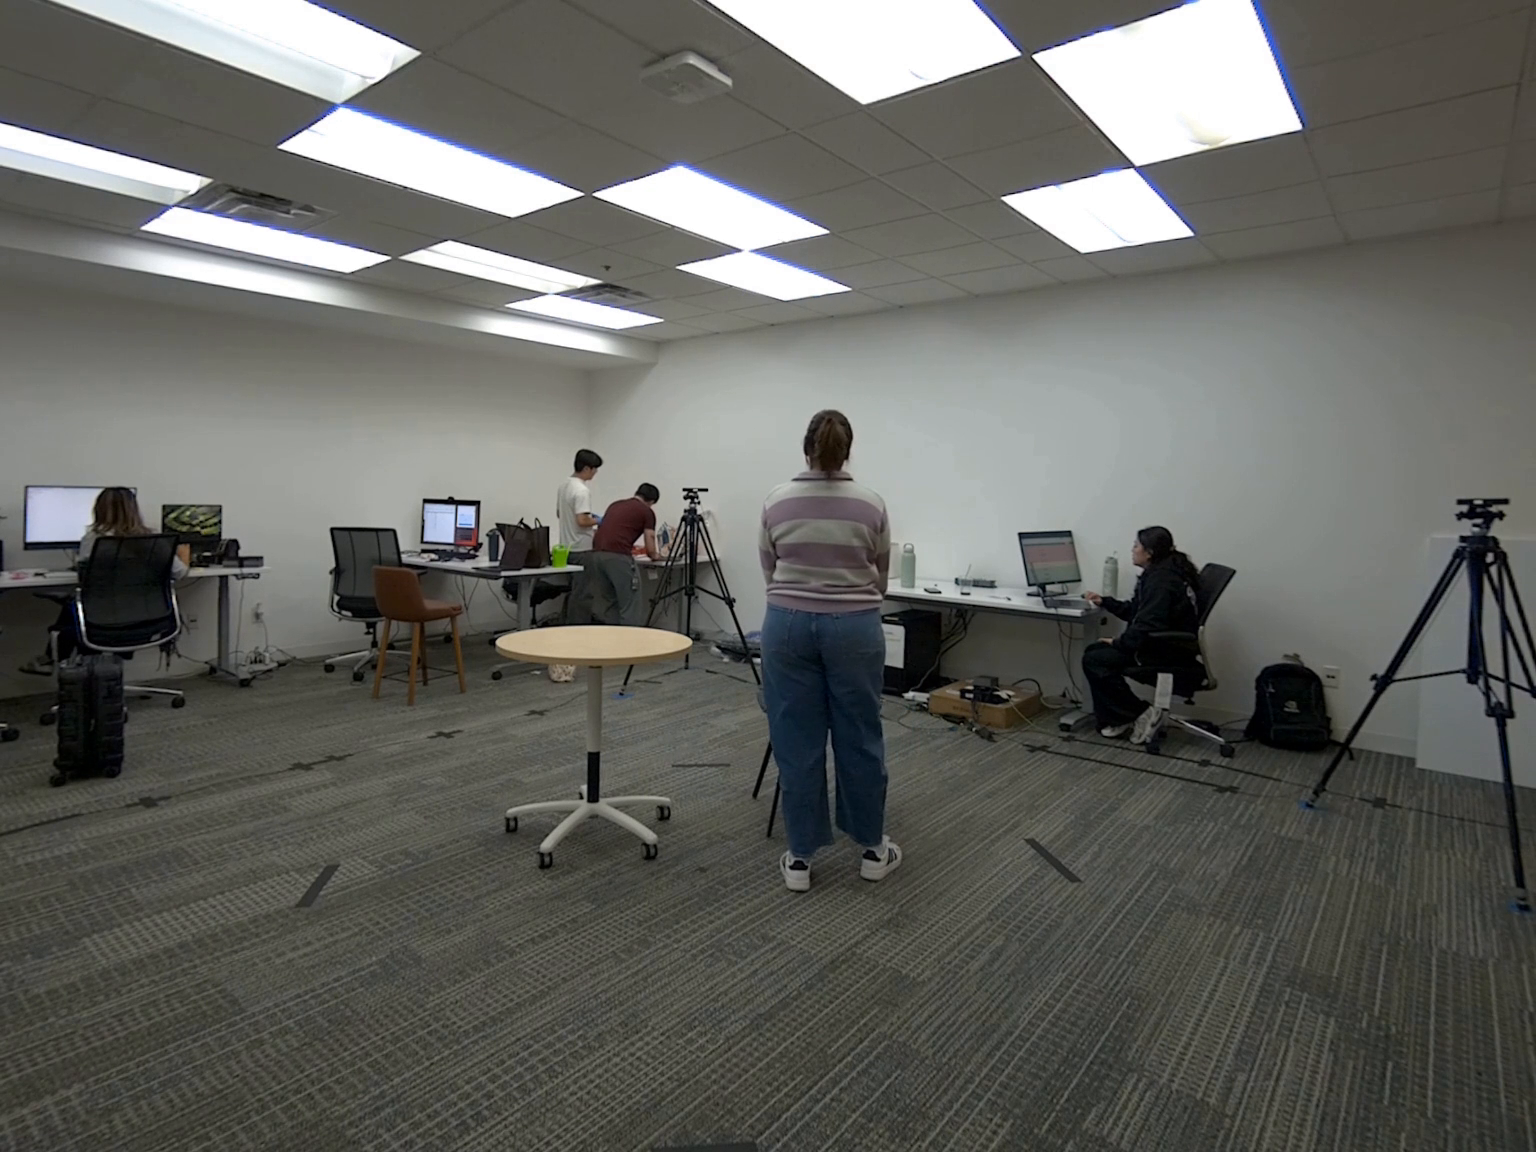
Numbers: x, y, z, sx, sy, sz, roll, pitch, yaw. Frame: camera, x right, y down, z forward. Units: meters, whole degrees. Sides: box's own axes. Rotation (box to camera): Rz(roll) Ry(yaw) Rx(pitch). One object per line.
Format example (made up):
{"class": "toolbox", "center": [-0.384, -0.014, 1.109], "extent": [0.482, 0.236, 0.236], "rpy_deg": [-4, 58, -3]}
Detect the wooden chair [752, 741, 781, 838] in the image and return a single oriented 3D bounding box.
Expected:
{"class": "wooden chair", "center": [0.173, 0.597, 3.625], "extent": [0.475, 0.871, 0.531], "rpy_deg": [0, 8, -7]}
